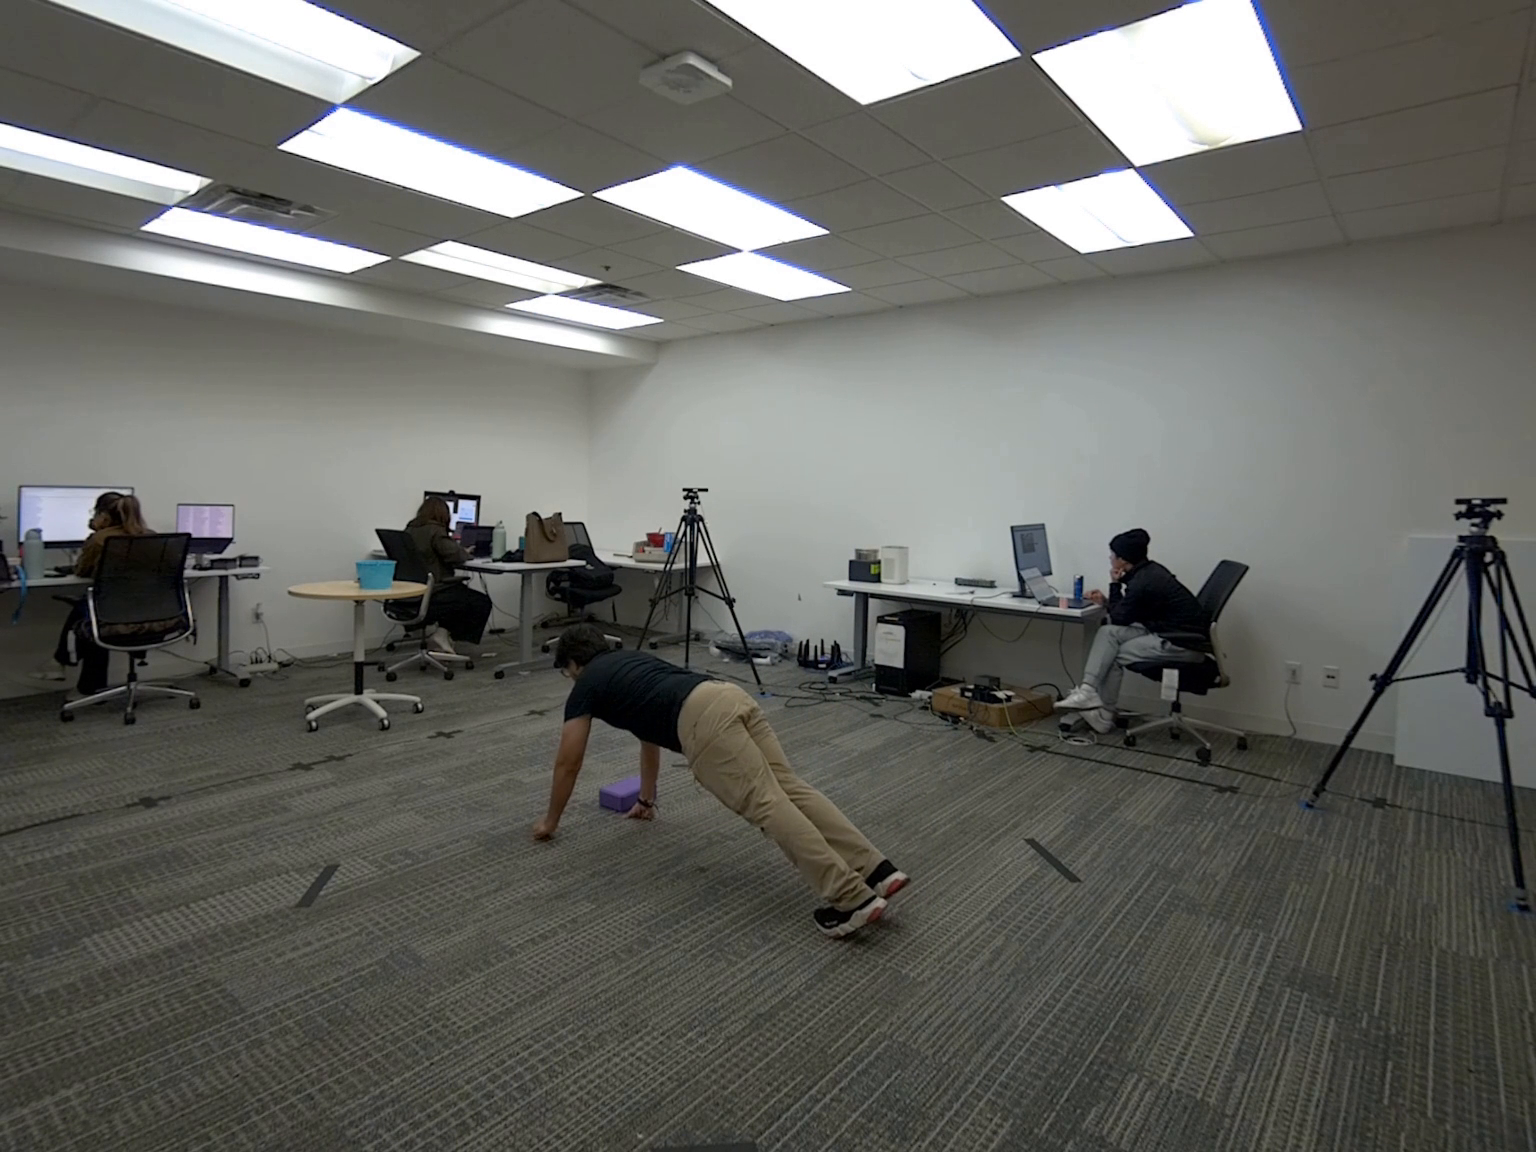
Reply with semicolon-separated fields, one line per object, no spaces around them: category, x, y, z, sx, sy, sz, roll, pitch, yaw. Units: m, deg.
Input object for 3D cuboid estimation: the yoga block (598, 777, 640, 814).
yoga block;-0.634;0.958;3.766;0.154;0.076;0.223;3;6;36
